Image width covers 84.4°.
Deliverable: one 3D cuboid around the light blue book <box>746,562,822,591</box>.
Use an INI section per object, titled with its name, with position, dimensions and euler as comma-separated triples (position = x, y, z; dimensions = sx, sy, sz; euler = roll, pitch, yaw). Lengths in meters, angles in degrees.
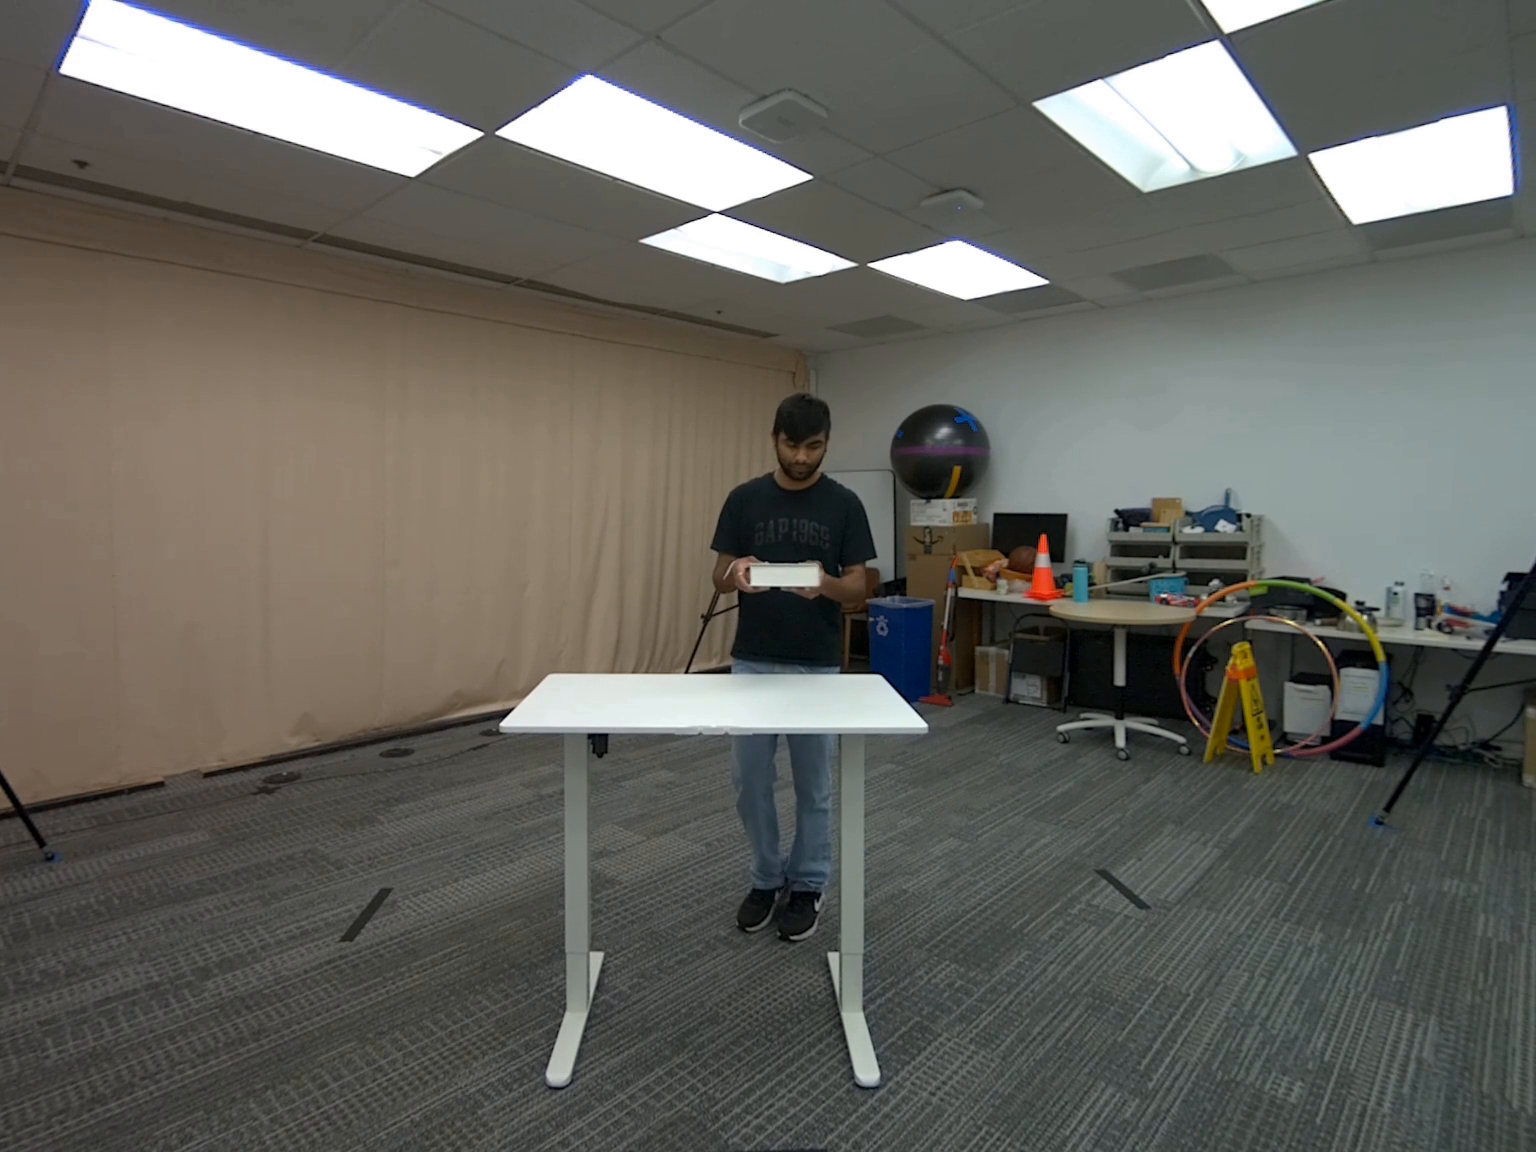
[light blue book]
position = 0.046, -0.002, 2.375
dimensions = 0.192, 0.059, 0.259
euler = 1, -1, 3
